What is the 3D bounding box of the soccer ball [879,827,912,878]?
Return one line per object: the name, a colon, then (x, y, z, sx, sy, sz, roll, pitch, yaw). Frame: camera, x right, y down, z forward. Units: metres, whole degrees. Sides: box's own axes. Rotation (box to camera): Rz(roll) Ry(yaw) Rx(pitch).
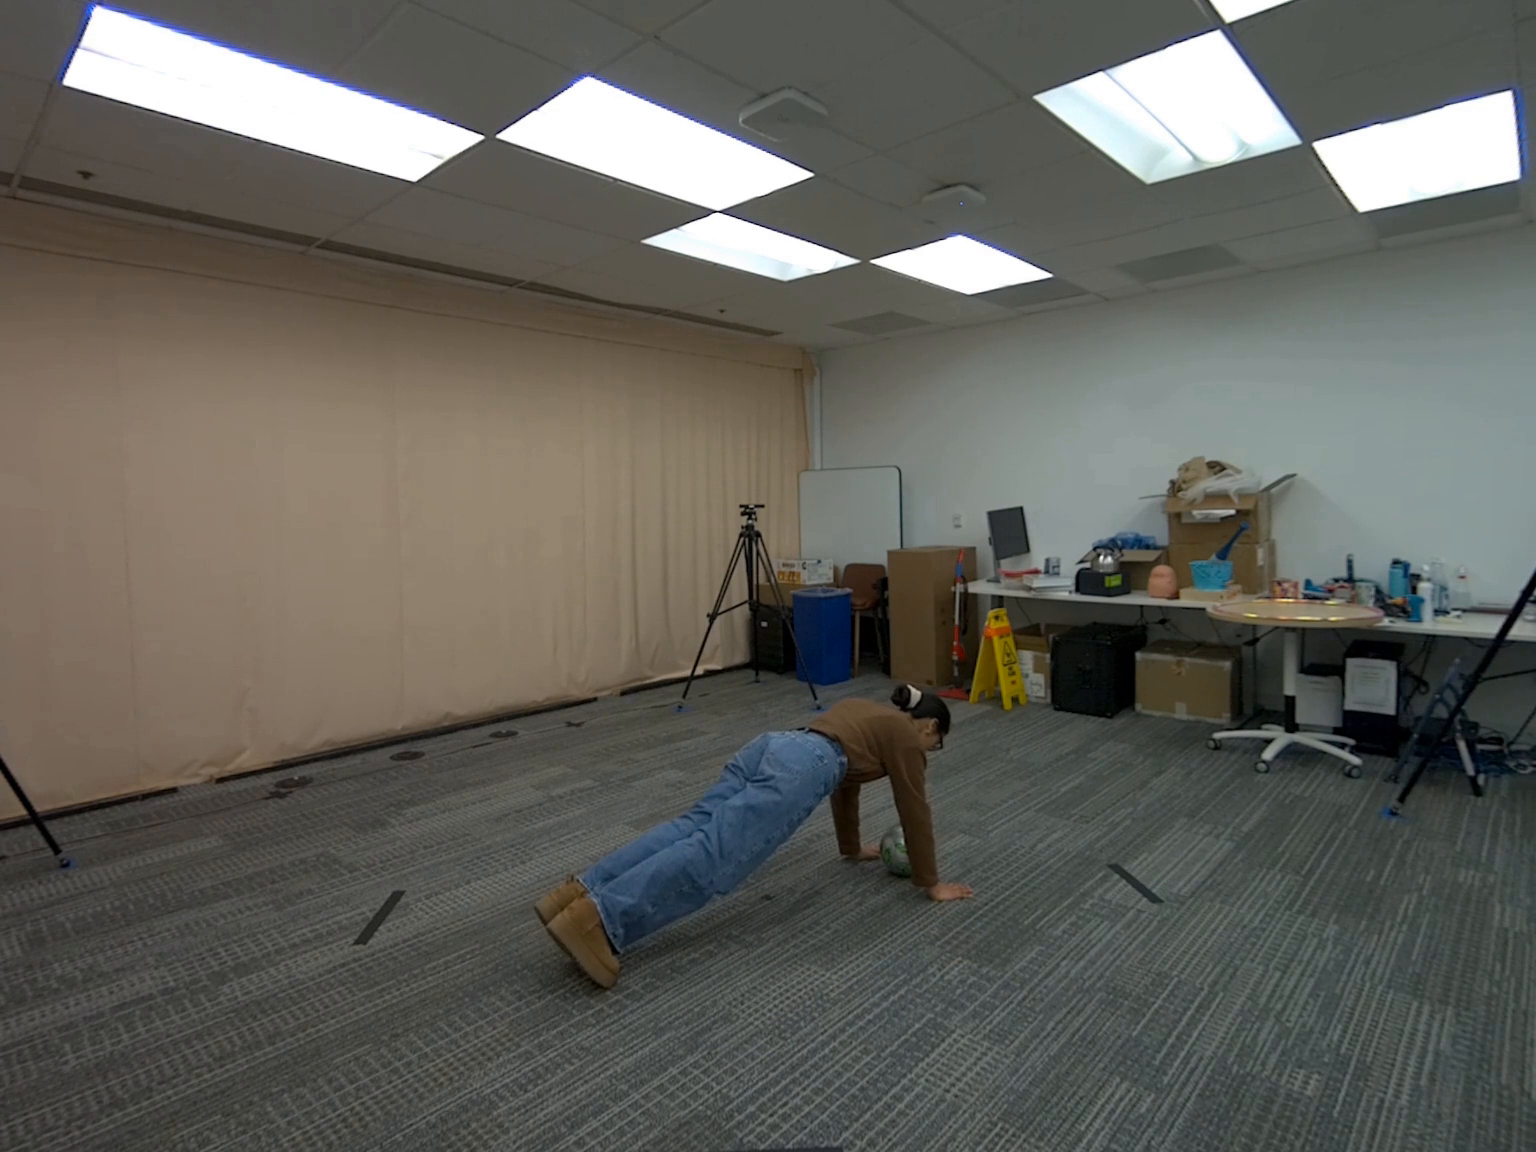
soccer ball: (0.520, 1.024, 3.147, 0.187, 0.187, 0.188, -1, 4, -2)
